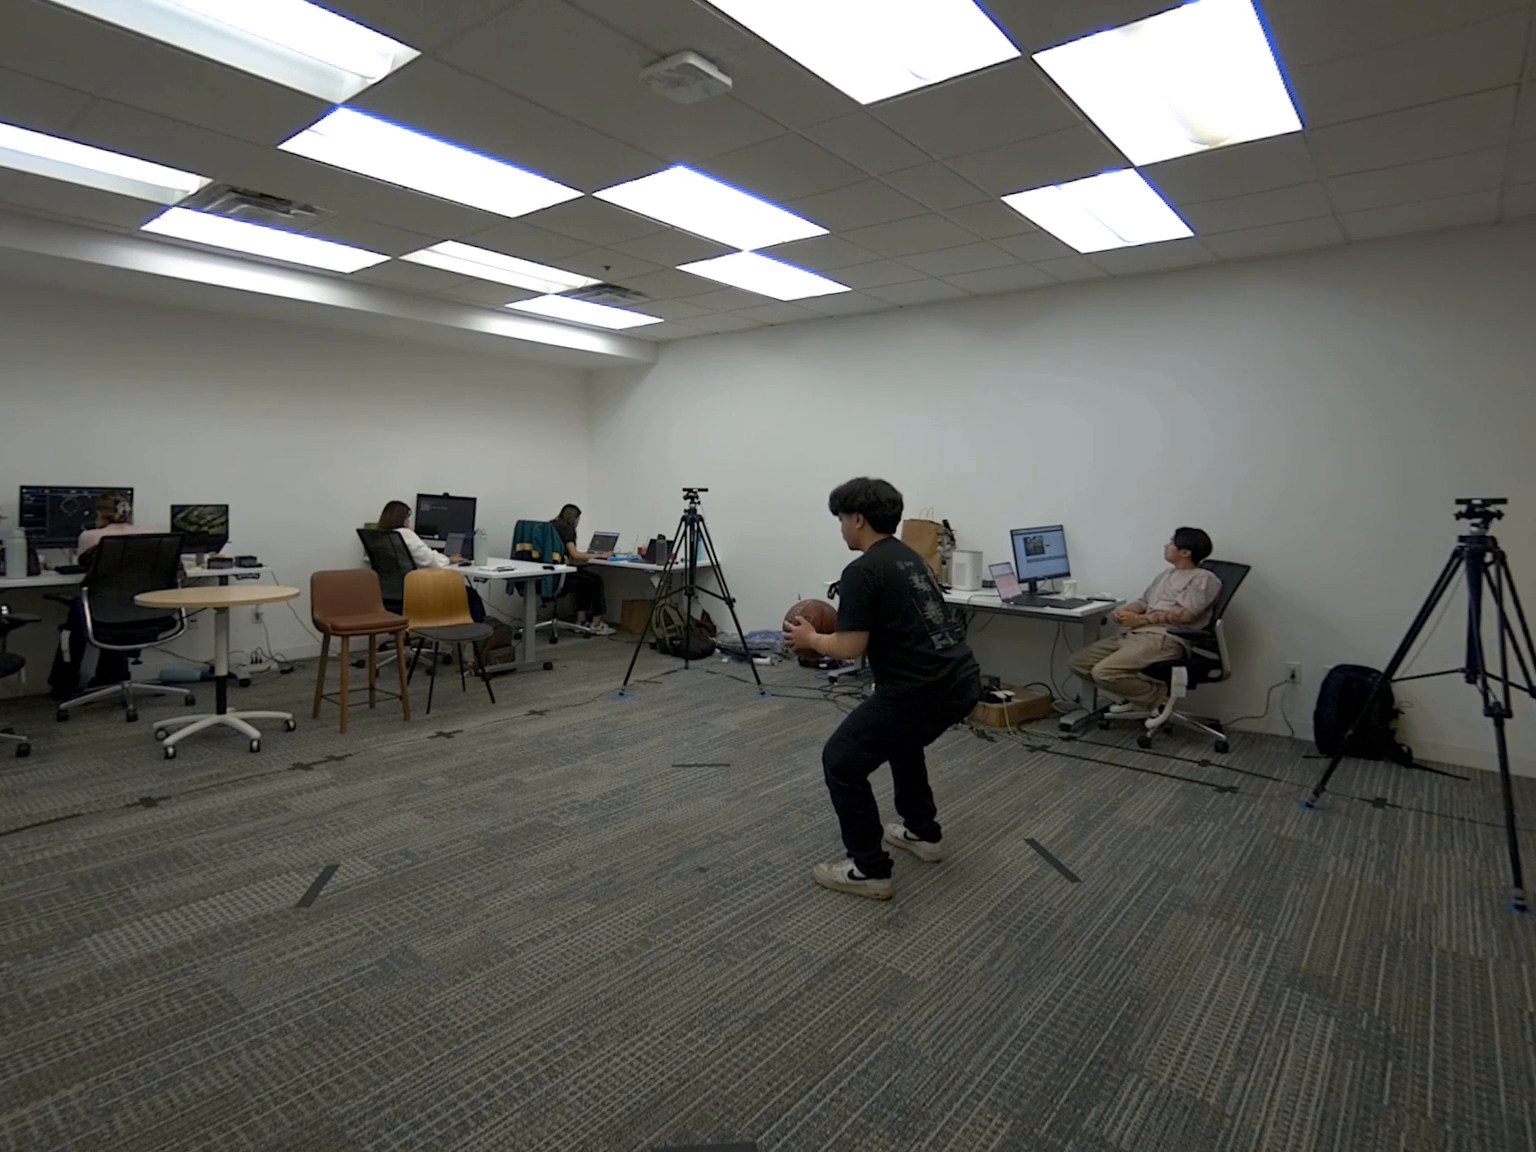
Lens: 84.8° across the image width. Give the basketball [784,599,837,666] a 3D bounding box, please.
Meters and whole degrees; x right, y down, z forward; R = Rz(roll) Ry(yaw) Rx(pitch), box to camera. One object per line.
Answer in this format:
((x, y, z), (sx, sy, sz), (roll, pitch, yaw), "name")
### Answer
((0.168, 0.204, 3.363), (0.235, 0.235, 0.237), (1, 4, -2), "basketball")
